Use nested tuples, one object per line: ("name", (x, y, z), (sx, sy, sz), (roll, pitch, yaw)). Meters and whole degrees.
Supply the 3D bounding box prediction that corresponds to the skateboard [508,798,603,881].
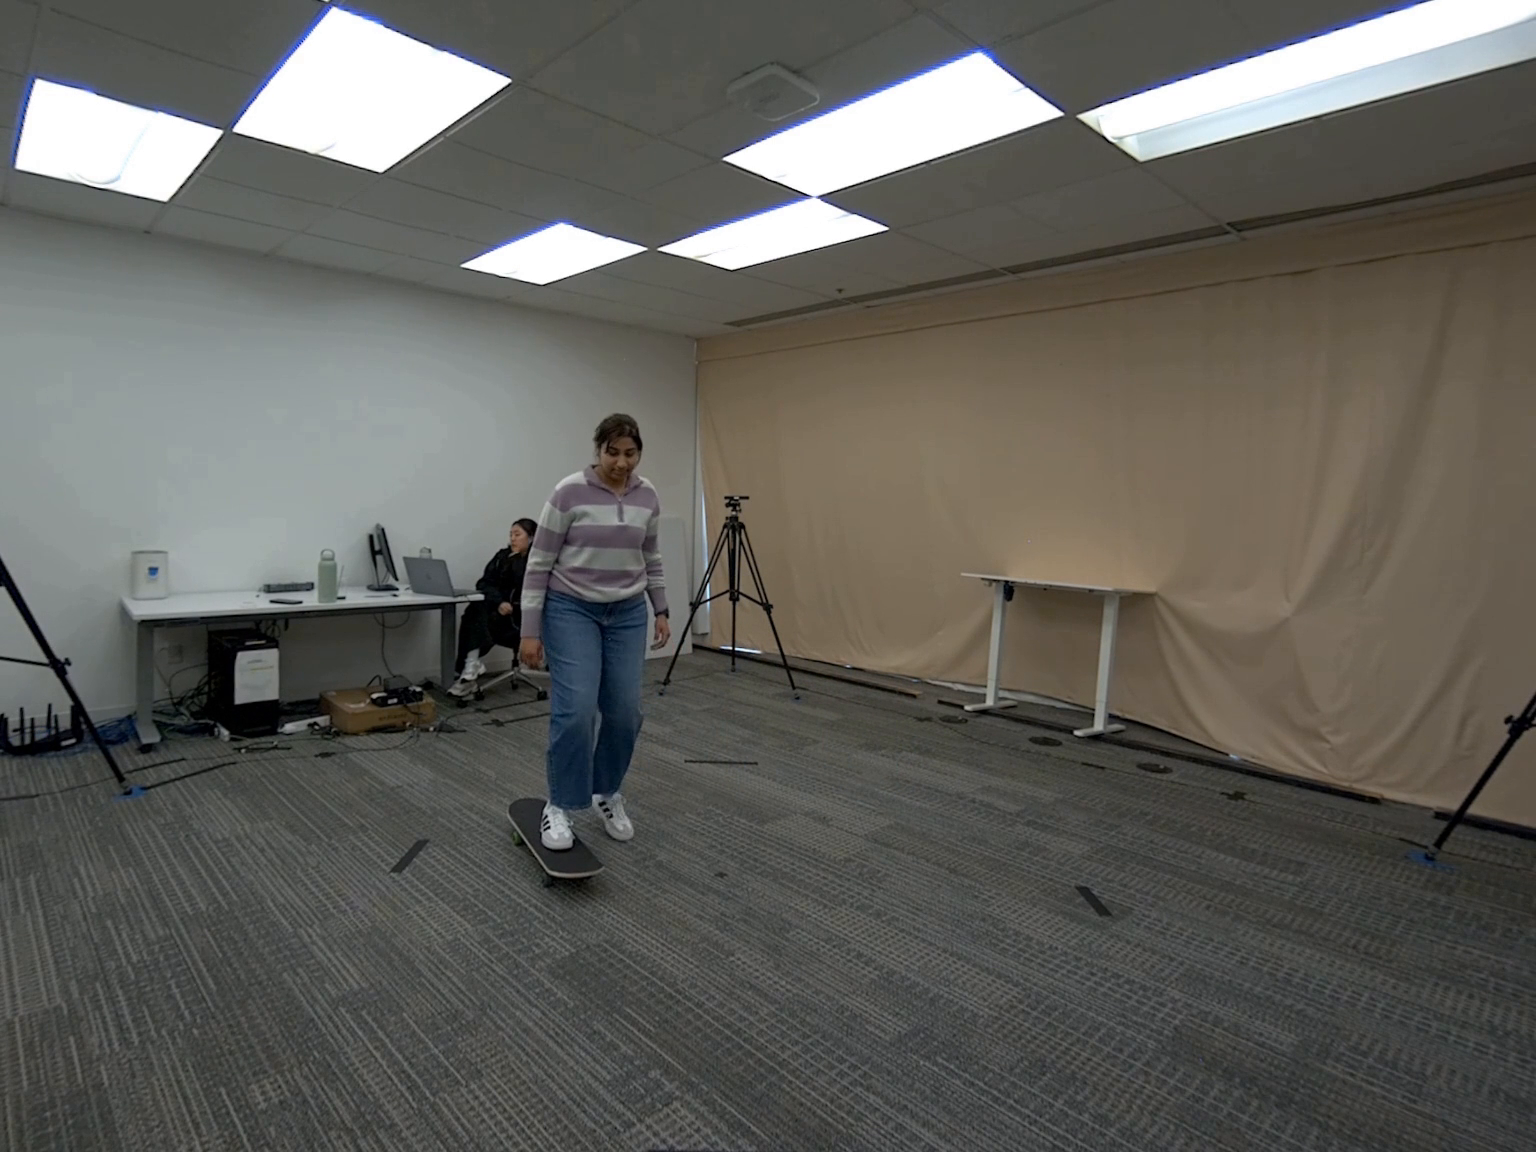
("skateboard", (-0.828, 1.026, 3.194), (0.189, 0.110, 0.803), (0, 5, -30))
